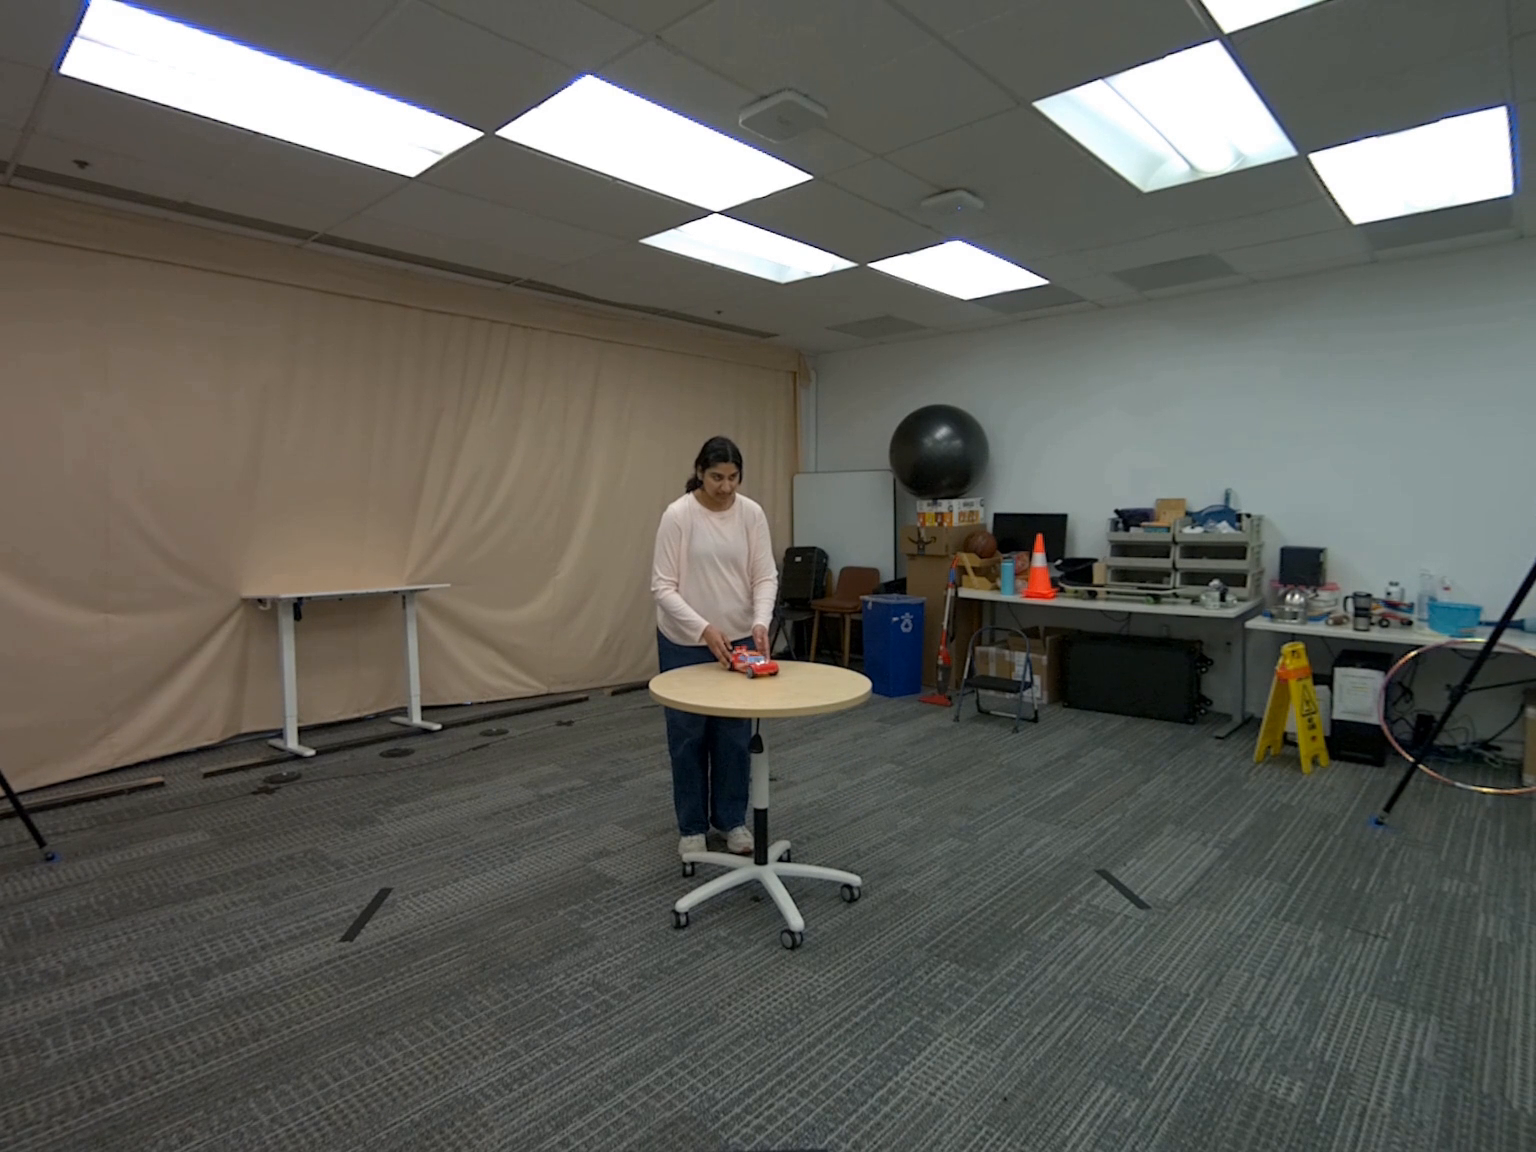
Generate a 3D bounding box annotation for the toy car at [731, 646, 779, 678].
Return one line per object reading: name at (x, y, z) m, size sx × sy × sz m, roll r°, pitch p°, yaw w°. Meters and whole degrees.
toy car at (-0.070, 0.318, 3.081) m, size 0.127 × 0.082 × 0.263 m, roll -3°, pitch 16°, yaw -27°
